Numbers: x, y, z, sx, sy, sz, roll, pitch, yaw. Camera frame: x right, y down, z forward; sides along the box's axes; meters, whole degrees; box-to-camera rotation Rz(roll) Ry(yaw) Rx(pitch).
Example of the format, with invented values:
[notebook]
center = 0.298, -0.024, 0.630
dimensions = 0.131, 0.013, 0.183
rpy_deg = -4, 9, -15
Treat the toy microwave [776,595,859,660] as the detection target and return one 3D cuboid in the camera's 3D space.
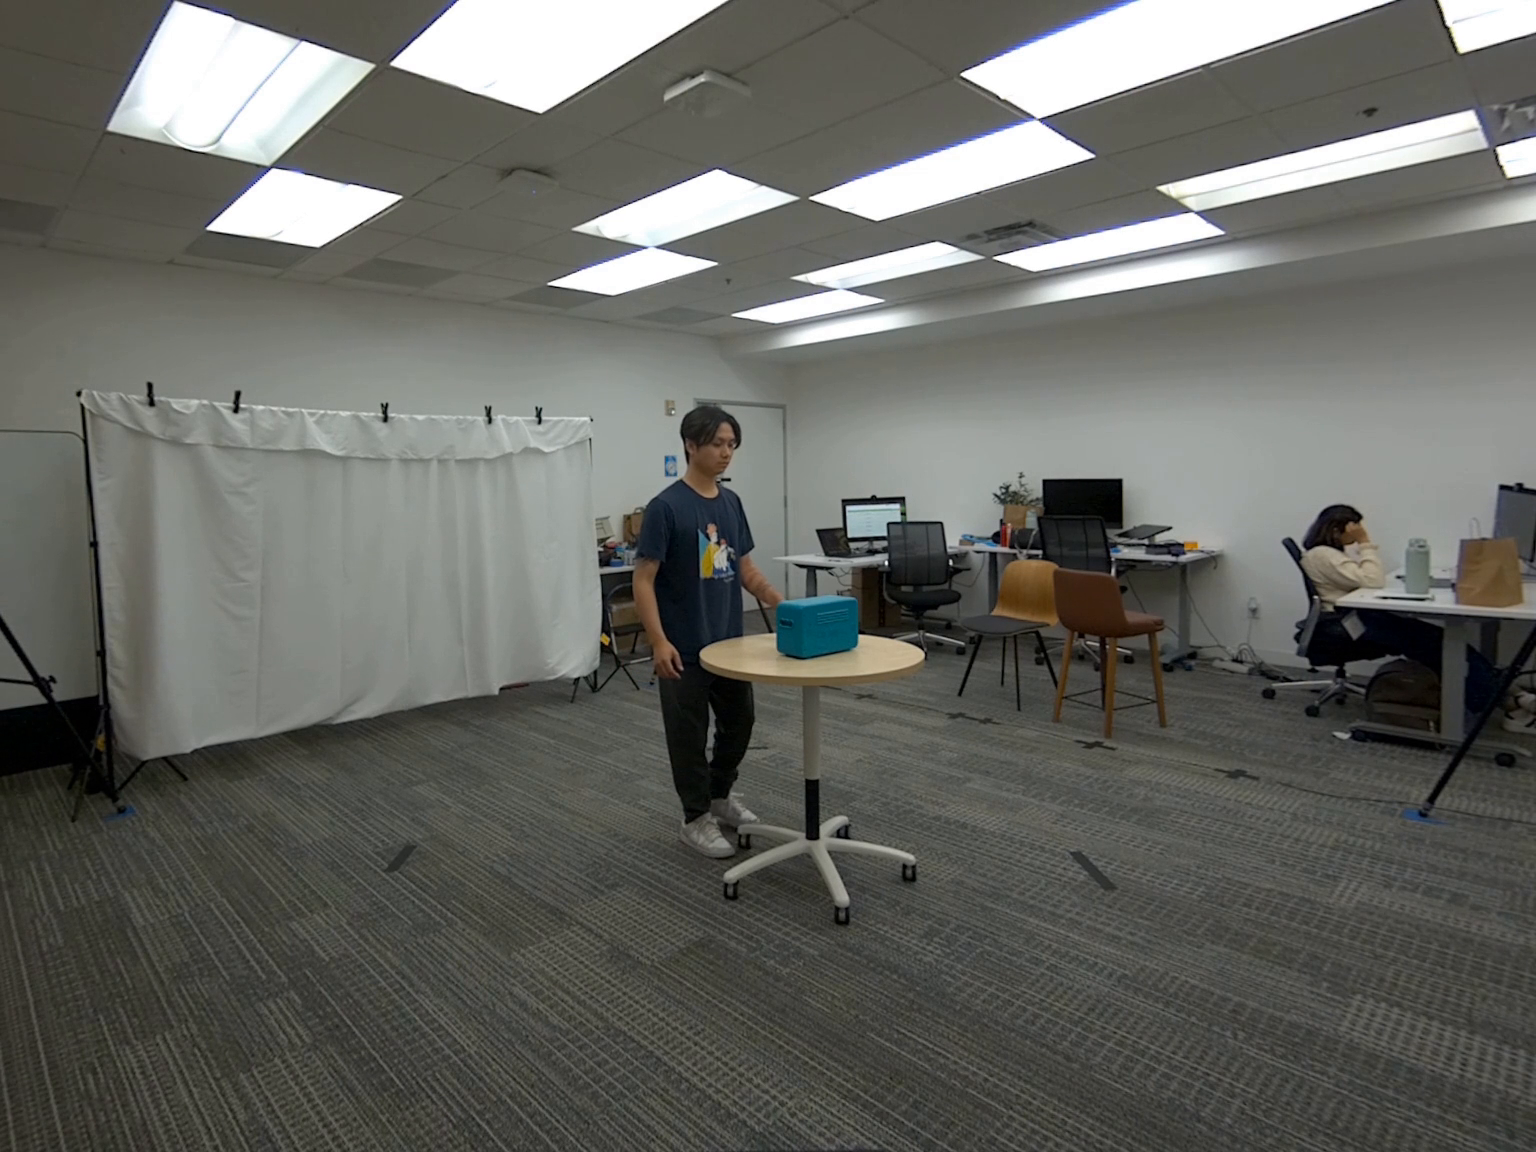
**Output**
[toy microwave]
center = 0.169, 0.170, 2.927
dimensions = 0.279, 0.183, 0.157
rpy_deg = -6, 6, -39
